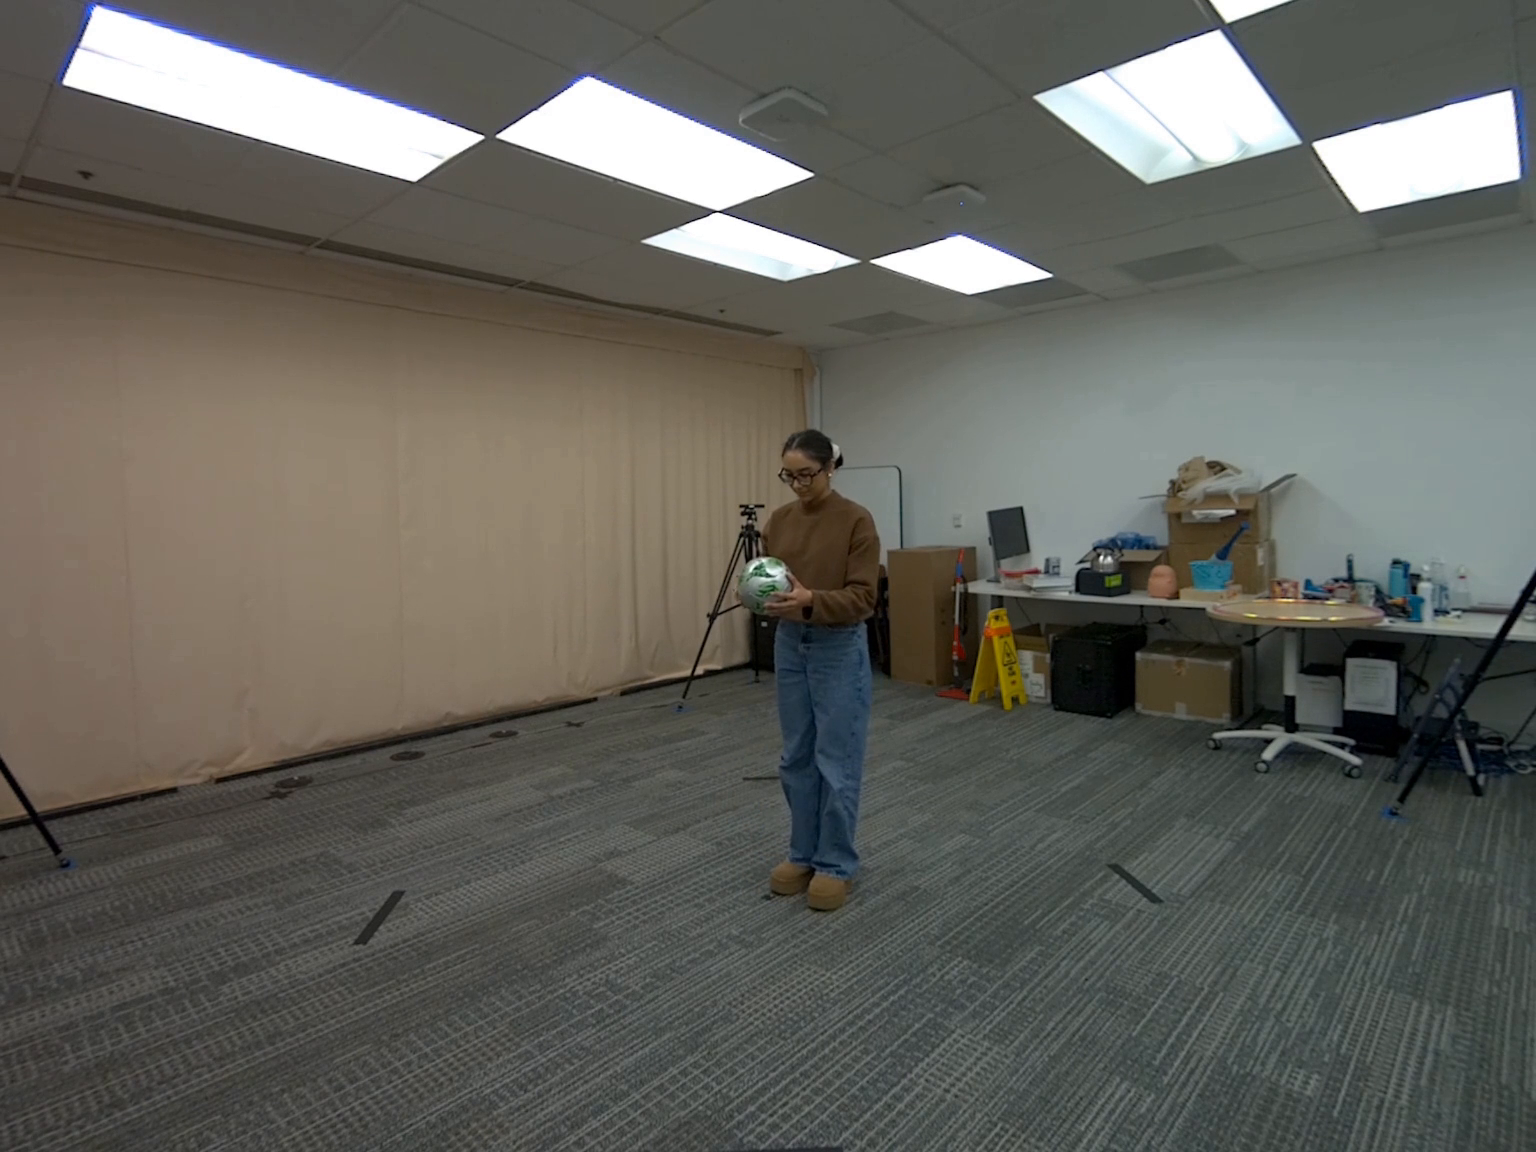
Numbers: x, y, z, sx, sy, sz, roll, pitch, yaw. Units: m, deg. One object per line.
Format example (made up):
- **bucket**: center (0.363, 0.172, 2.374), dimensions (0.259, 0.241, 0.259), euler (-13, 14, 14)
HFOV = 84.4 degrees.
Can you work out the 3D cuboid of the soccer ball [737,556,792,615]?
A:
- **soccer ball**: center (0.000, 0.026, 2.712), dimensions (0.187, 0.187, 0.188), euler (-1, 4, -2)
